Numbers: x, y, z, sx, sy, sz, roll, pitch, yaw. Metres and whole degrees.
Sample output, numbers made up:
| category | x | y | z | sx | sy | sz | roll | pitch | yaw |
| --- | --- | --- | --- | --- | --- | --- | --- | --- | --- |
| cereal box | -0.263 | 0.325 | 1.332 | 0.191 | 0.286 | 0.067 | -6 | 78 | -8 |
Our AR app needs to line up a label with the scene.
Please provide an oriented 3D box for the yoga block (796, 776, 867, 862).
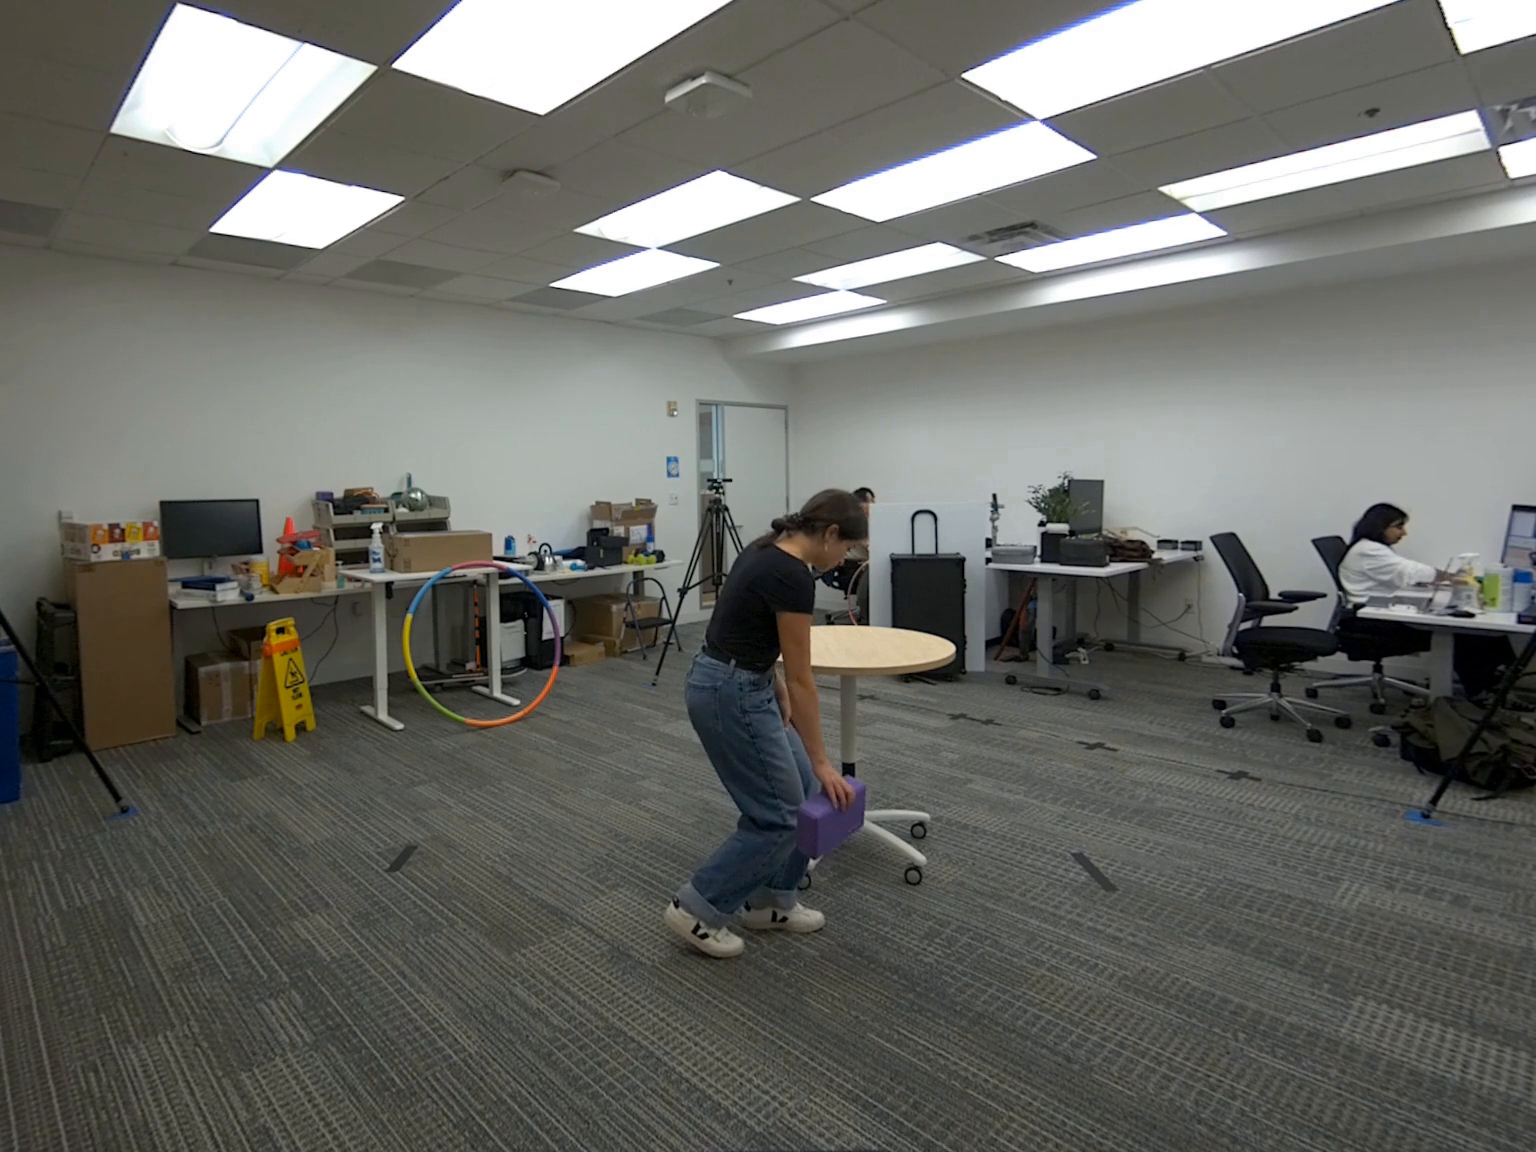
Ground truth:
| category | x | y | z | sx | sy | sz | roll | pitch | yaw |
| --- | --- | --- | --- | --- | --- | --- | --- | --- | --- |
| yoga block | 0.184 | 0.693 | 2.442 | 0.225 | 0.147 | 0.079 | -17 | 24 | -40 |
